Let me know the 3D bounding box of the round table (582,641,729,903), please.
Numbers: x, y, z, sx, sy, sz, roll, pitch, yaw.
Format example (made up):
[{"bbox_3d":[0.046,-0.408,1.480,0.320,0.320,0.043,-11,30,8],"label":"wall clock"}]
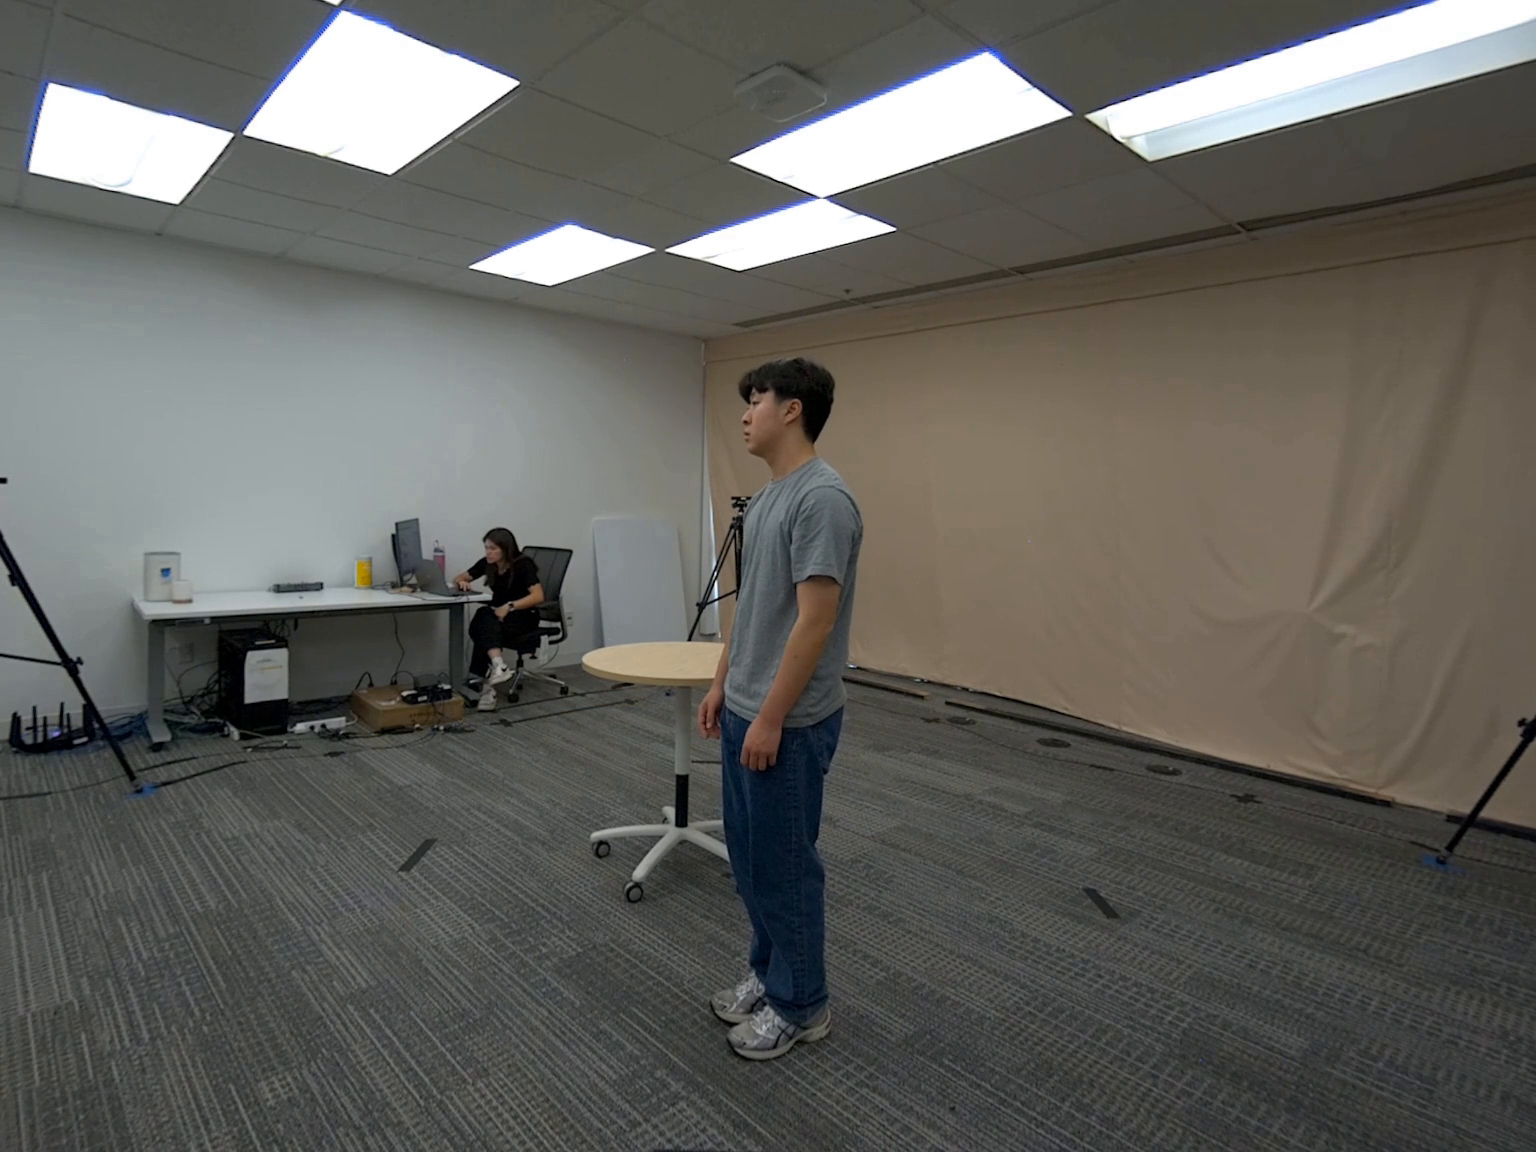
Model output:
[{"bbox_3d":[-0.328,0.705,3.195,0.763,0.792,0.766,1,4,-1],"label":"round table"}]
